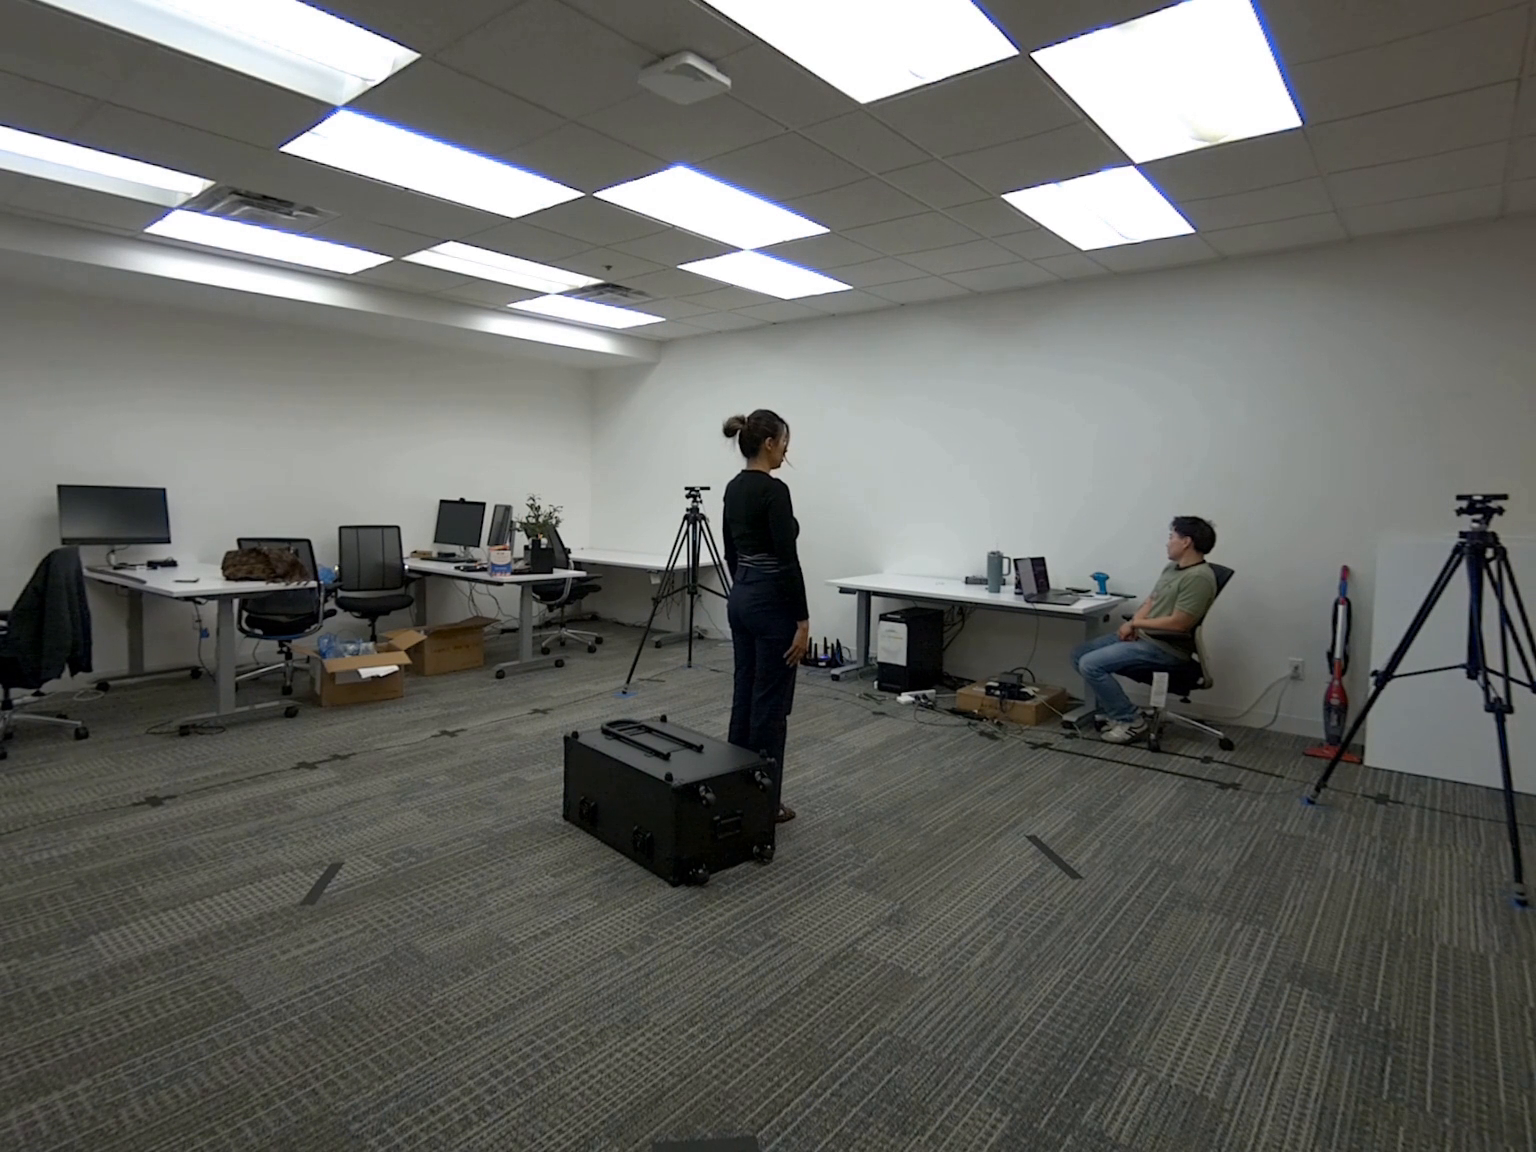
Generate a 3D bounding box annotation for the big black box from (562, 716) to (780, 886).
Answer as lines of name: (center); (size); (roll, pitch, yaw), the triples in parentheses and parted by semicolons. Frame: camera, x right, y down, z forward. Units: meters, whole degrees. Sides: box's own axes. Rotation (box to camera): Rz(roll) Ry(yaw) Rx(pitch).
big black box: (-0.439, 0.856, 3.412); (0.505, 0.395, 0.891); (-3, 7, -41)
